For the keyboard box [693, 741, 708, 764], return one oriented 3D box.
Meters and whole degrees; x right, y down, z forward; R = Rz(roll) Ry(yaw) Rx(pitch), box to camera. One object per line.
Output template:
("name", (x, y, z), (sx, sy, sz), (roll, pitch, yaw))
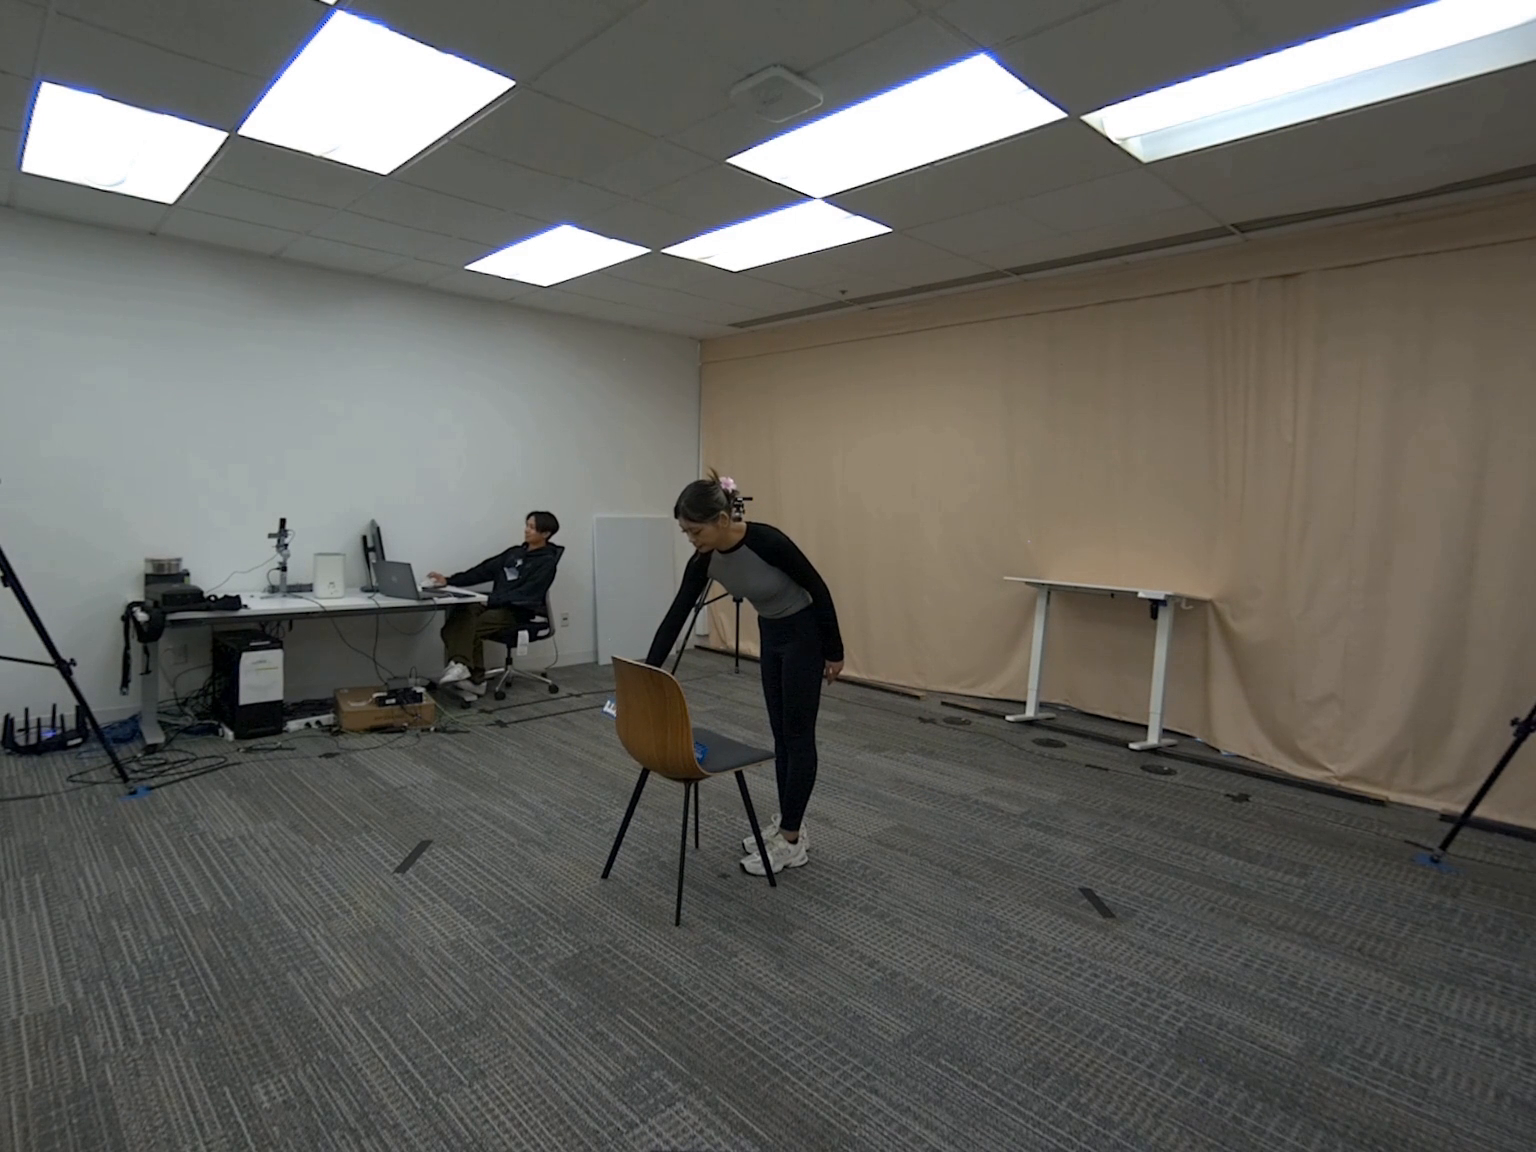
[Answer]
("keyboard box", (-0.416, 0.558, 3.040), (0.449, 0.059, 0.170), (12, -19, 48))
